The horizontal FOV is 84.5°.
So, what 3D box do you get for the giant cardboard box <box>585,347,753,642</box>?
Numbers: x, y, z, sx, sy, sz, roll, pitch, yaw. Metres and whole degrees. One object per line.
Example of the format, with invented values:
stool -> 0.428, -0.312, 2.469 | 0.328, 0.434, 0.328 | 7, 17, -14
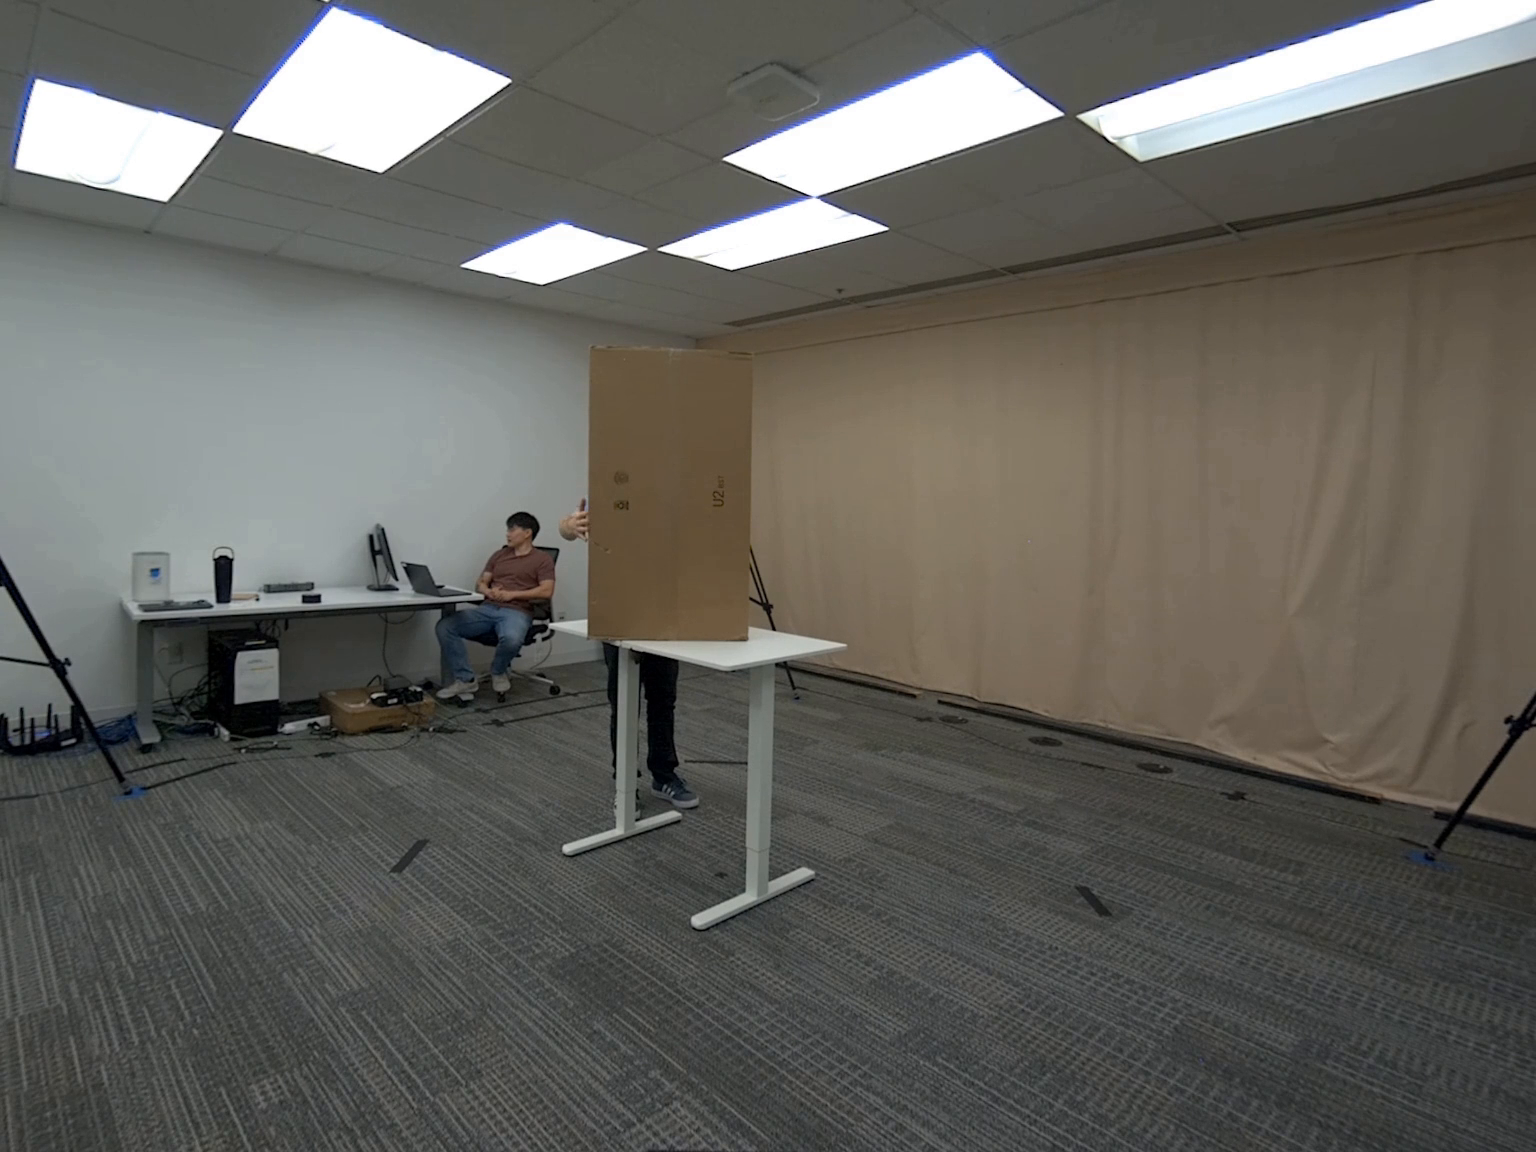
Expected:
giant cardboard box -> -0.379, -0.298, 3.146 | 0.575, 1.023, 0.429 | 1, 4, -6
